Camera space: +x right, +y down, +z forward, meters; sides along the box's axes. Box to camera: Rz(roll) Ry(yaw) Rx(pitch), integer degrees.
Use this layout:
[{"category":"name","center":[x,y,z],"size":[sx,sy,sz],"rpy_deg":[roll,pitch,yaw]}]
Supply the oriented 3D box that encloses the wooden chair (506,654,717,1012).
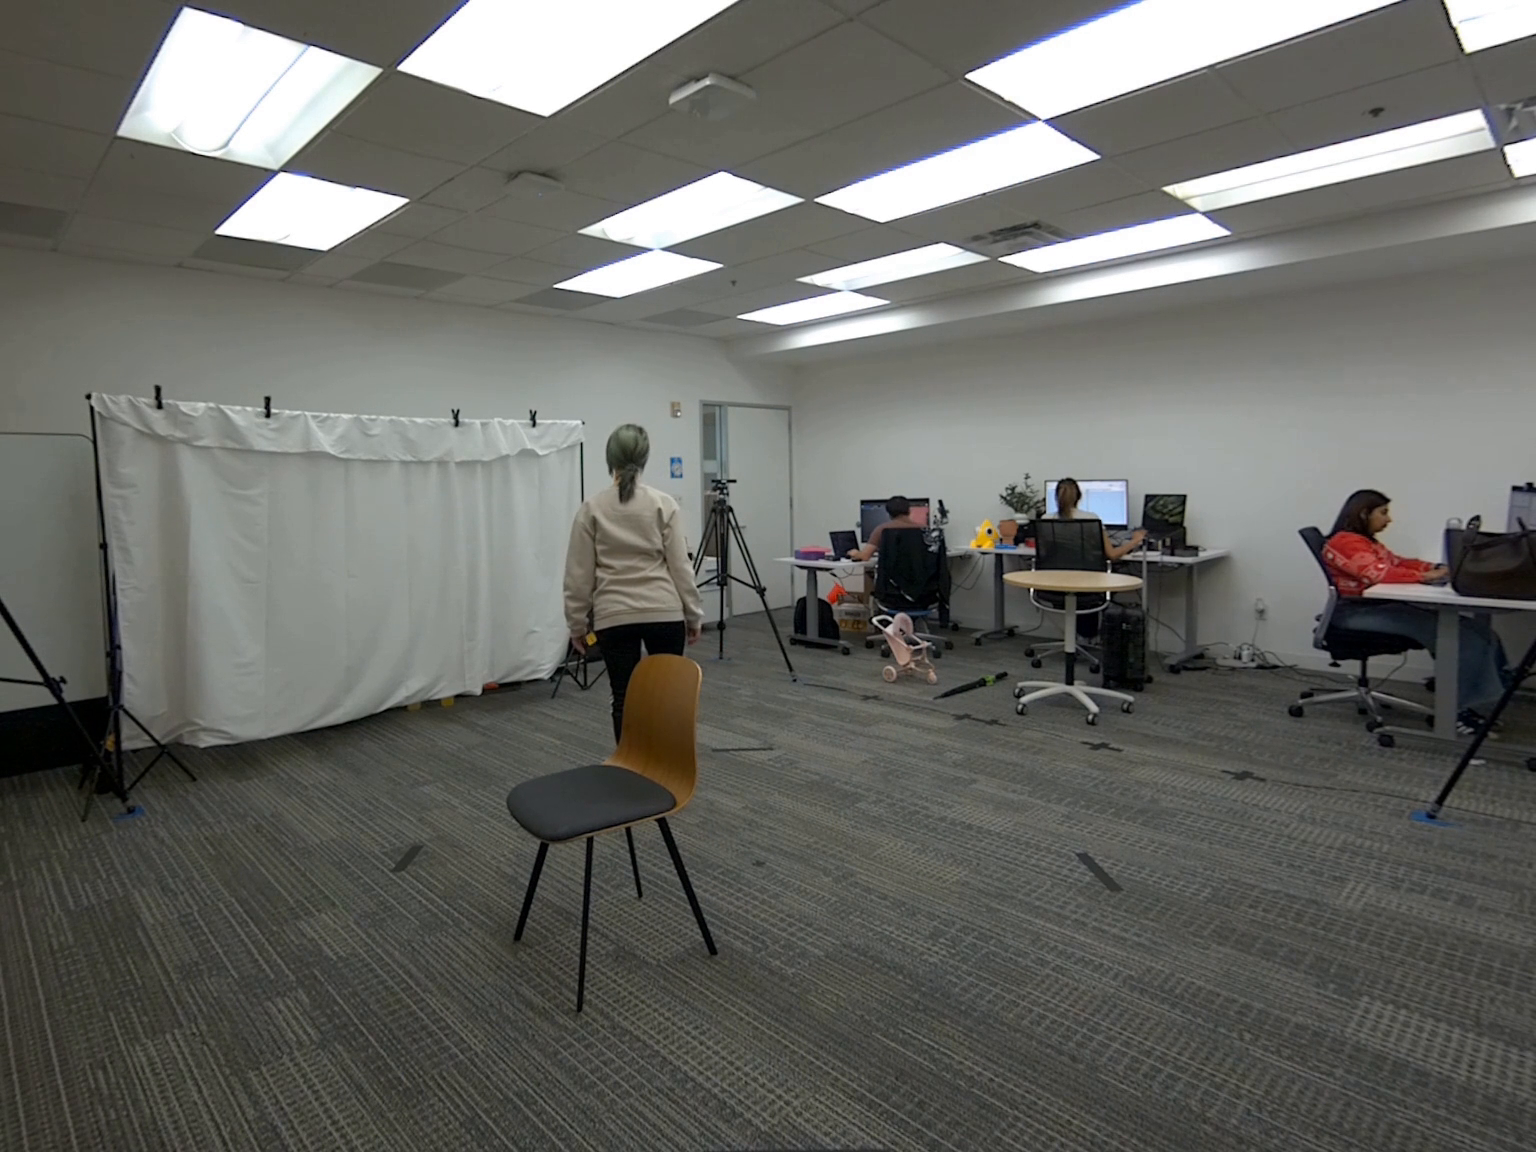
[{"category":"wooden chair","center":[-0.477,0.699,2.529],"size":[0.508,0.876,0.492],"rpy_deg":[1,3,-37]}]
